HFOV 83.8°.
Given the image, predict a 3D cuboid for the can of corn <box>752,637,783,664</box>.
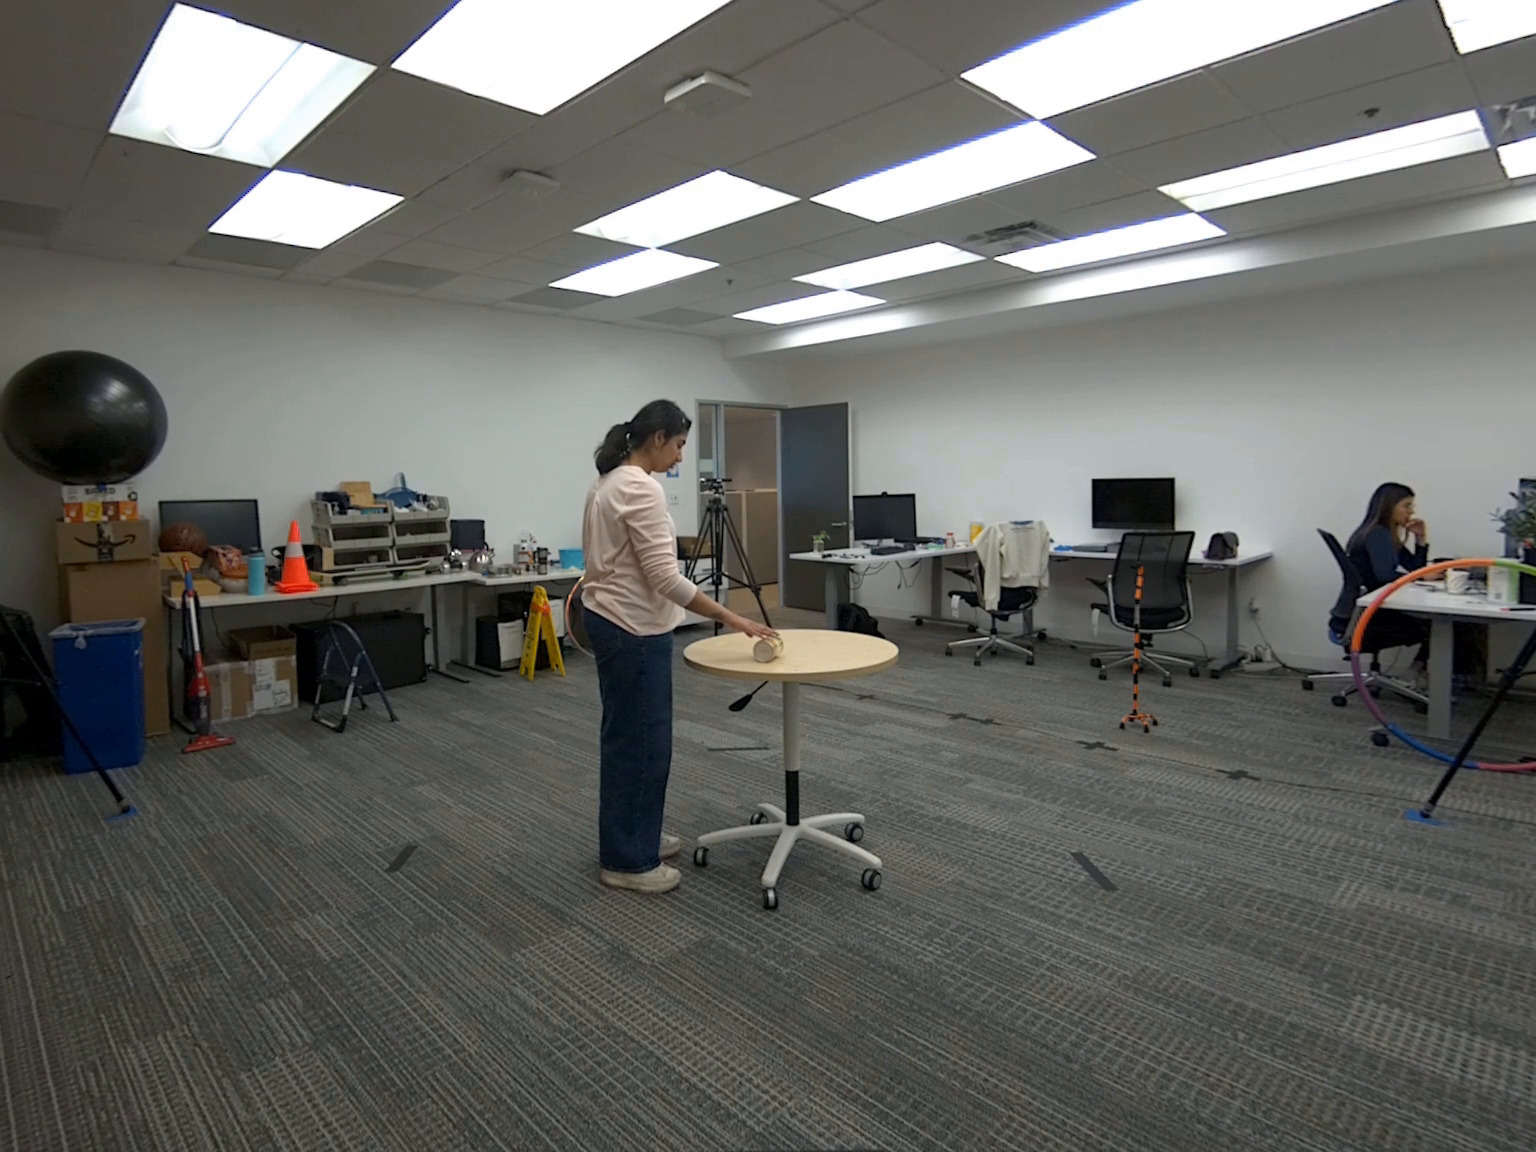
[{"bbox_3d":[0.001,0.242,2.898,0.075,0.074,0.109,1,6,17],"label":"can of corn"}]
